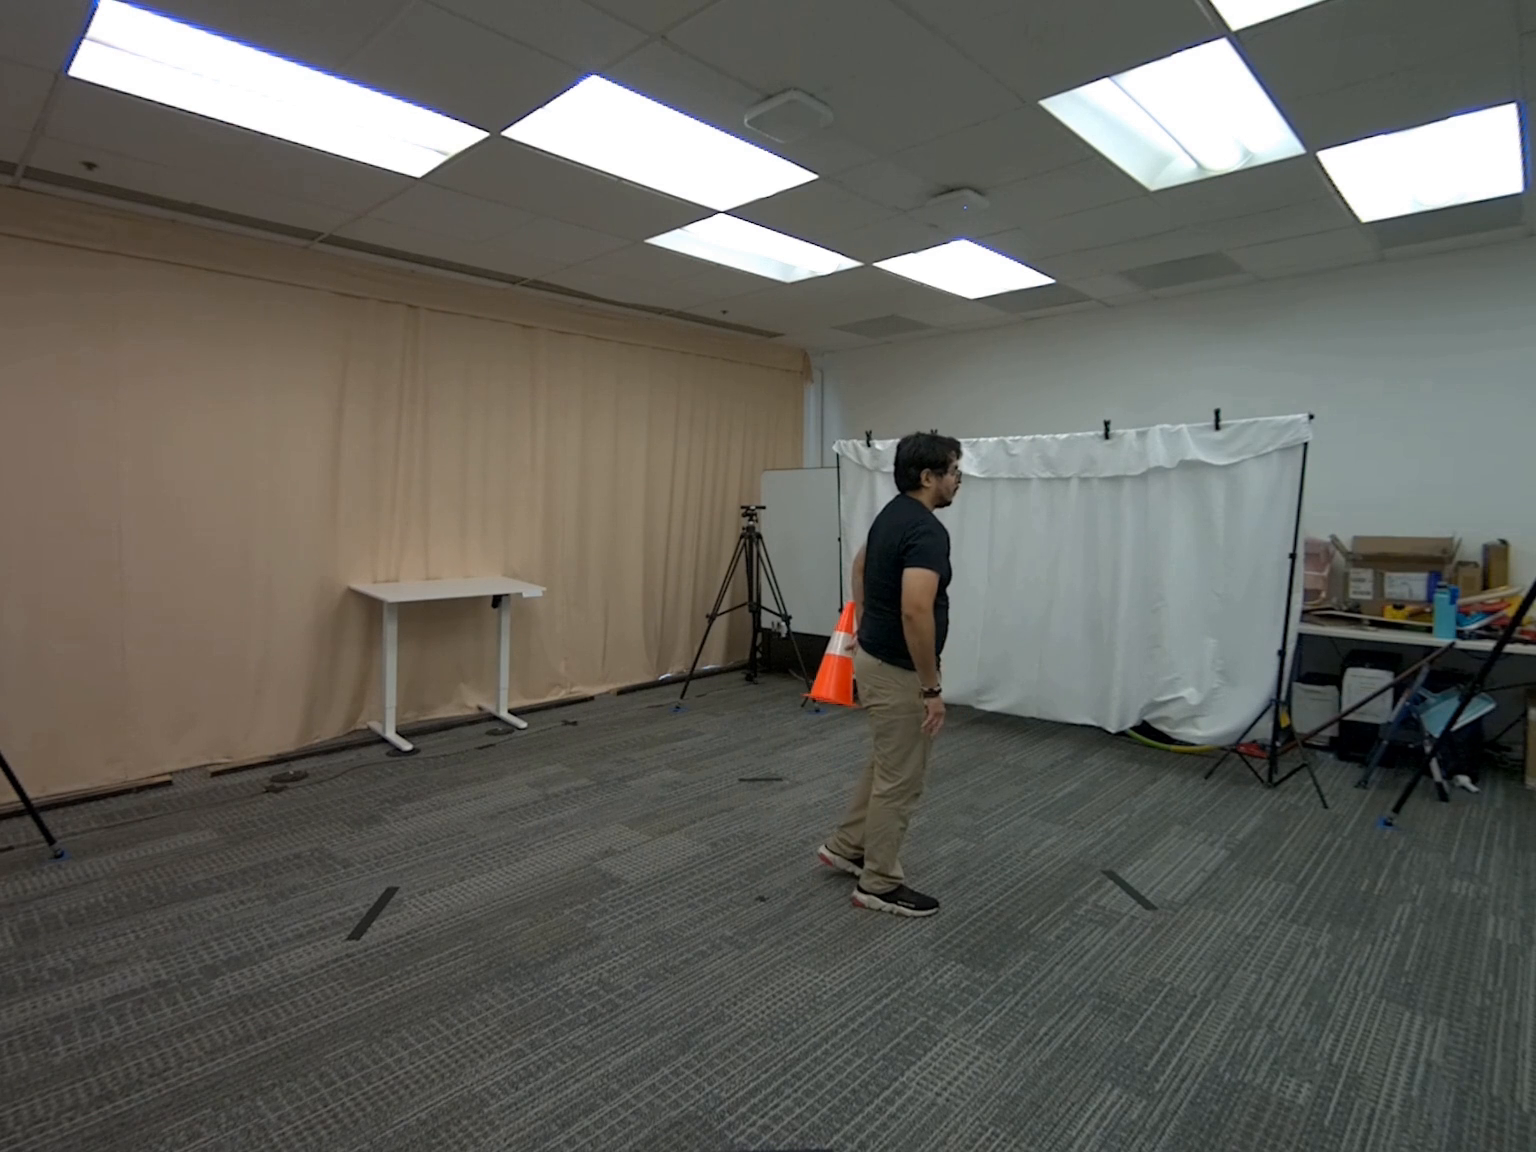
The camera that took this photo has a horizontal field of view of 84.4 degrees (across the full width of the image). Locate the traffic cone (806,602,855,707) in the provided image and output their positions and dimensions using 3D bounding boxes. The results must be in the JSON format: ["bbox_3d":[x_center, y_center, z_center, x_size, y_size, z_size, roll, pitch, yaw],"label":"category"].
[{"bbox_3d":[0.285,0.282,3.164,0.201,0.385,0.206,15,-12,-9],"label":"traffic cone"}]
